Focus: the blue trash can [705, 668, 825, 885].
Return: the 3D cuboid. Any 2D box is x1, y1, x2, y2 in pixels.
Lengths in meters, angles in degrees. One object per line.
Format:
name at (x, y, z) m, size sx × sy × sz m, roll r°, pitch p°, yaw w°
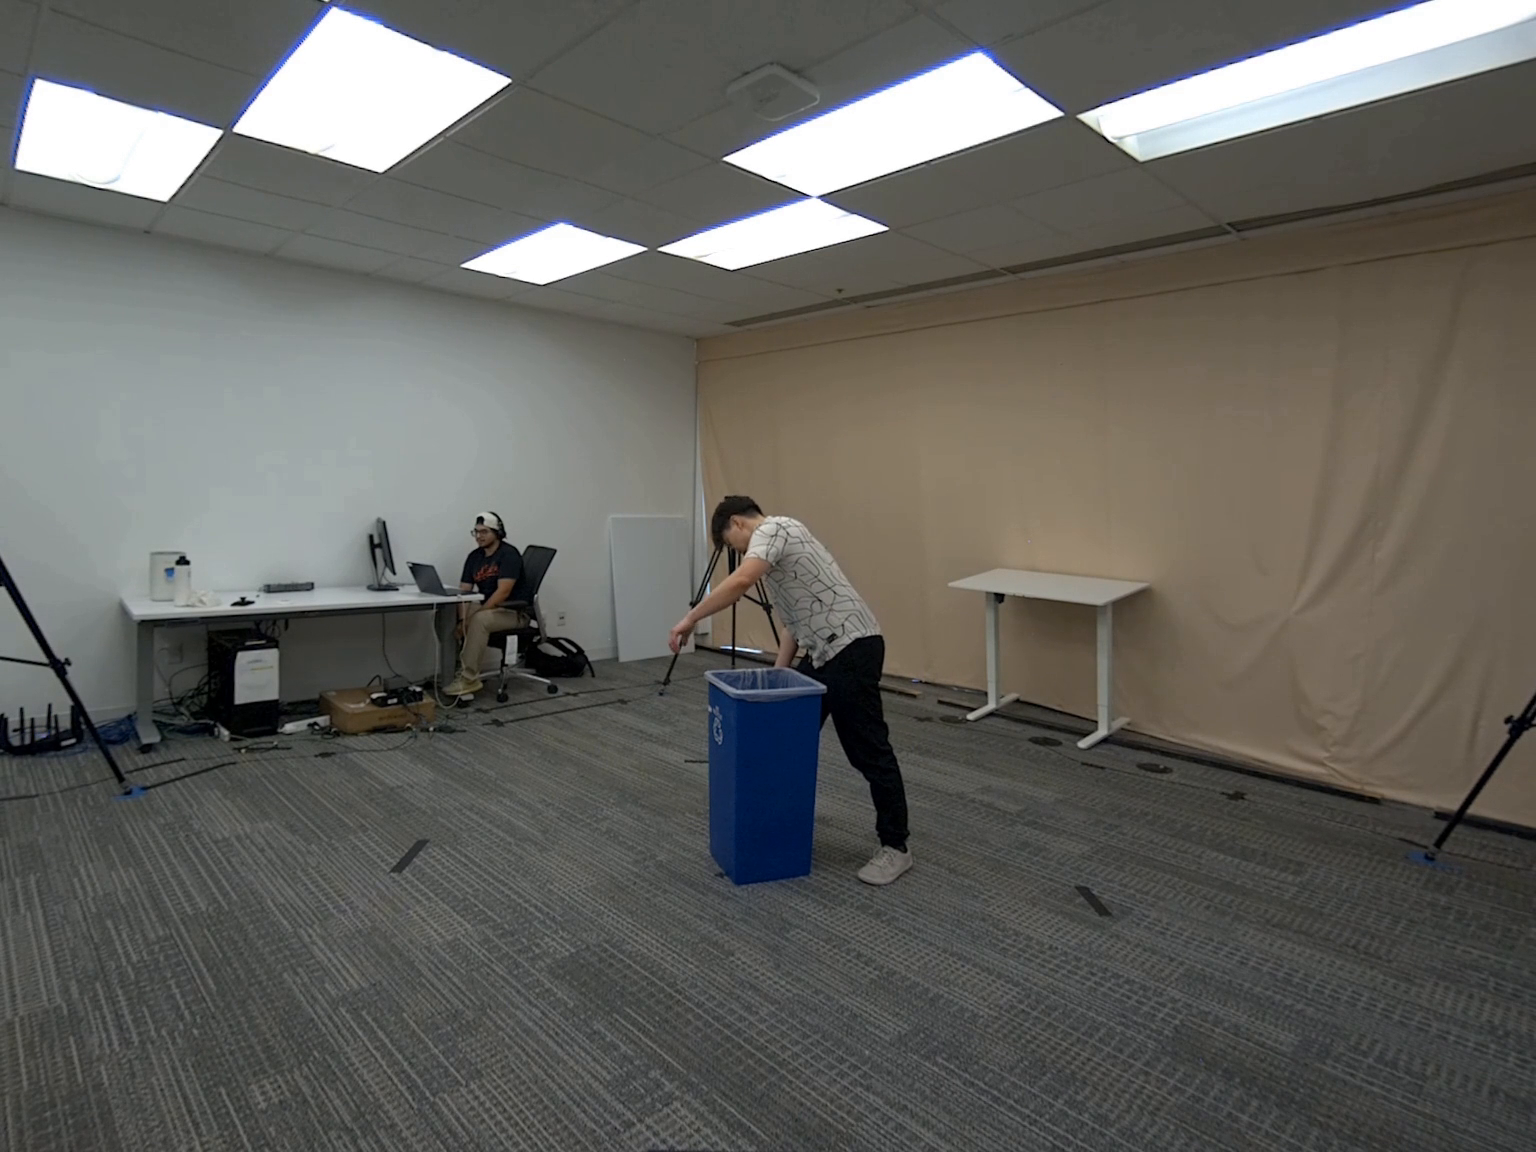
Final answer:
blue trash can at (-0.037, 0.743, 3.178) m, size 0.368 × 0.712 × 0.385 m, roll 0°, pitch 4°, yaw -24°
